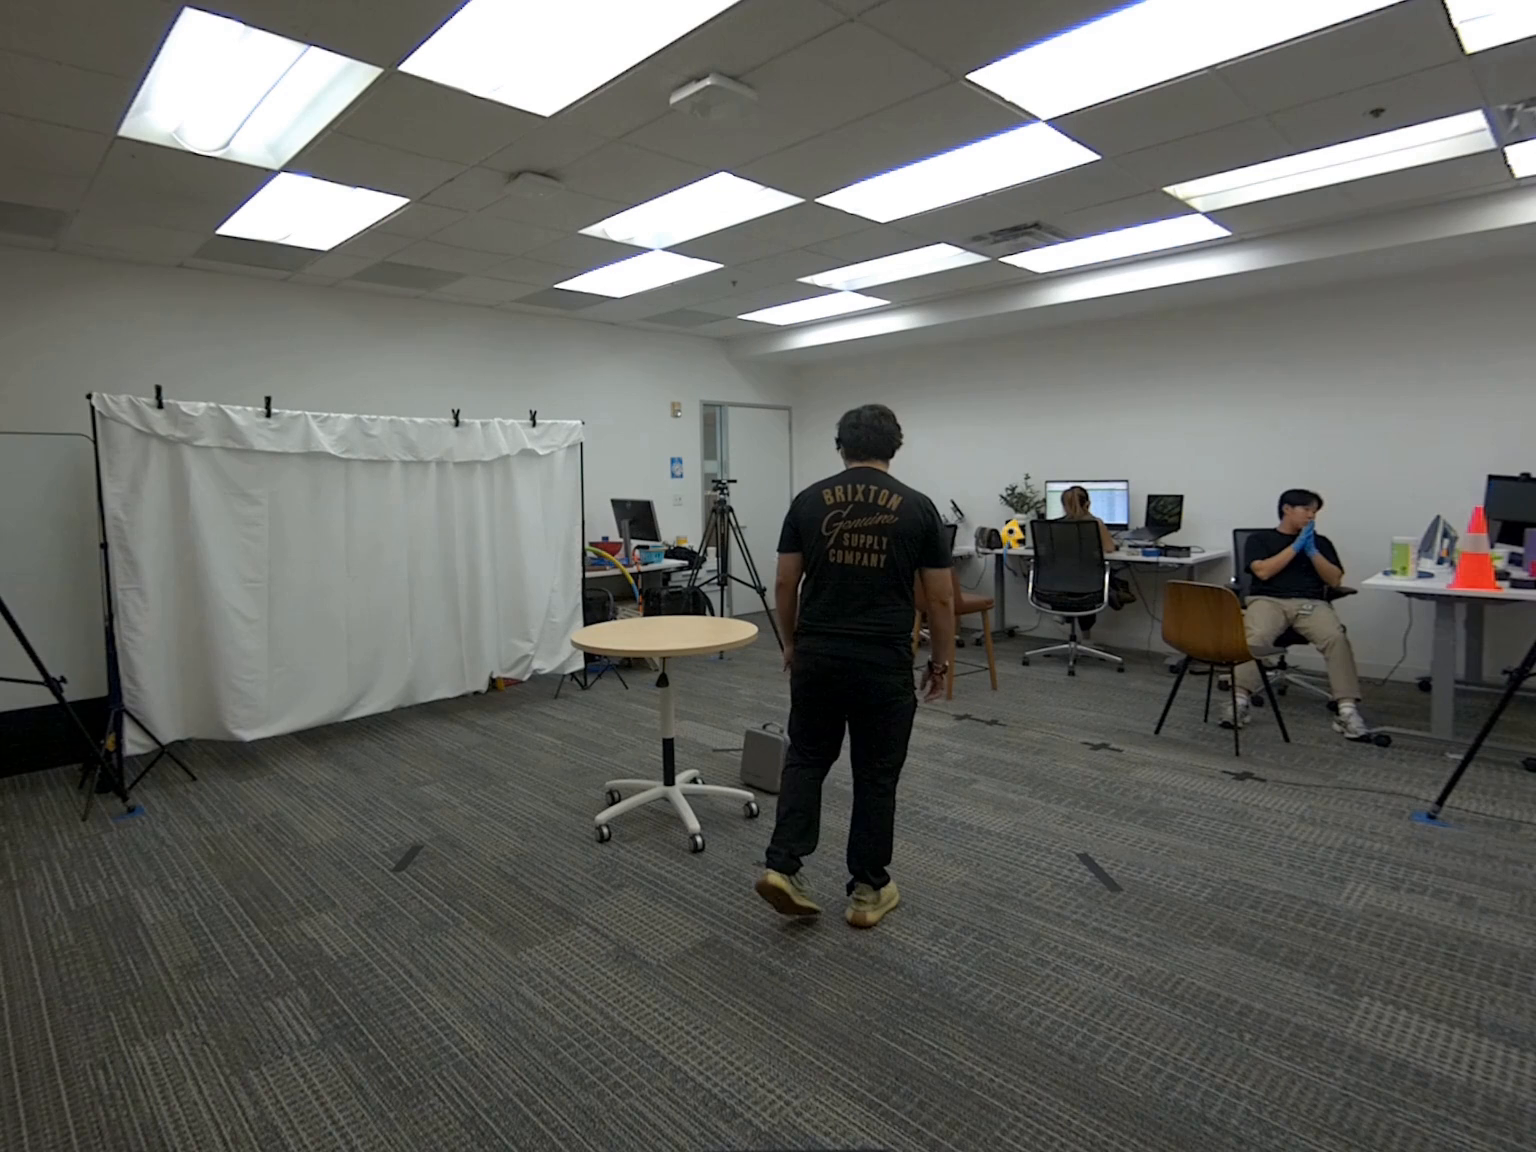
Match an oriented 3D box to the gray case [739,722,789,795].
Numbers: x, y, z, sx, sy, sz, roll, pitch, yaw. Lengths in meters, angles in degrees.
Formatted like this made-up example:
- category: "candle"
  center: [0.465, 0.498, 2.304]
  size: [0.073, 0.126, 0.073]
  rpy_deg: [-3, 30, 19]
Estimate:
- category: "gray case"
  center: [-0.002, 0.827, 3.886]
  size: [0.101, 0.261, 0.264]
  rpy_deg: [10, -5, -41]
